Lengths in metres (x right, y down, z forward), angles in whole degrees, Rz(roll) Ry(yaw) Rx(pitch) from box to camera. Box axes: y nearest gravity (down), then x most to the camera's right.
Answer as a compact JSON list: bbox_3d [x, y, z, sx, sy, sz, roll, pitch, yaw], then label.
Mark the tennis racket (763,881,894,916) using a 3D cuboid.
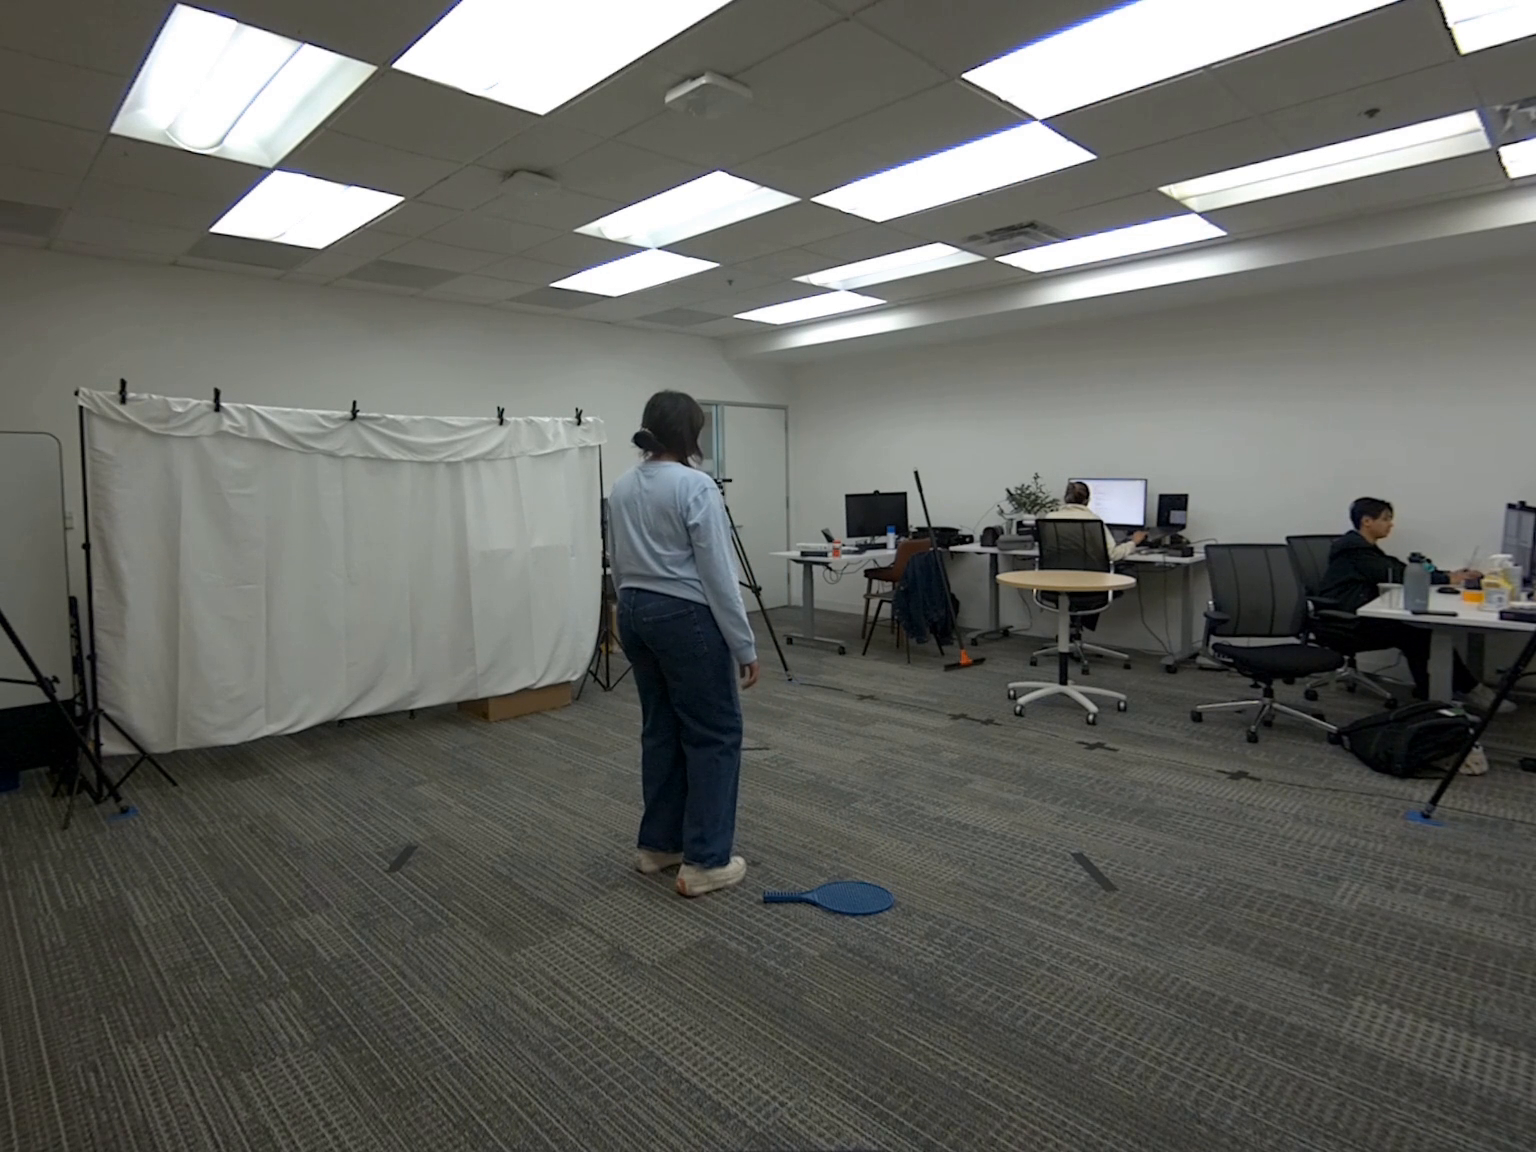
[{"bbox_3d":[0.200,1.056,2.825,0.433,0.031,0.214,0,6,0],"label":"tennis racket"}]
